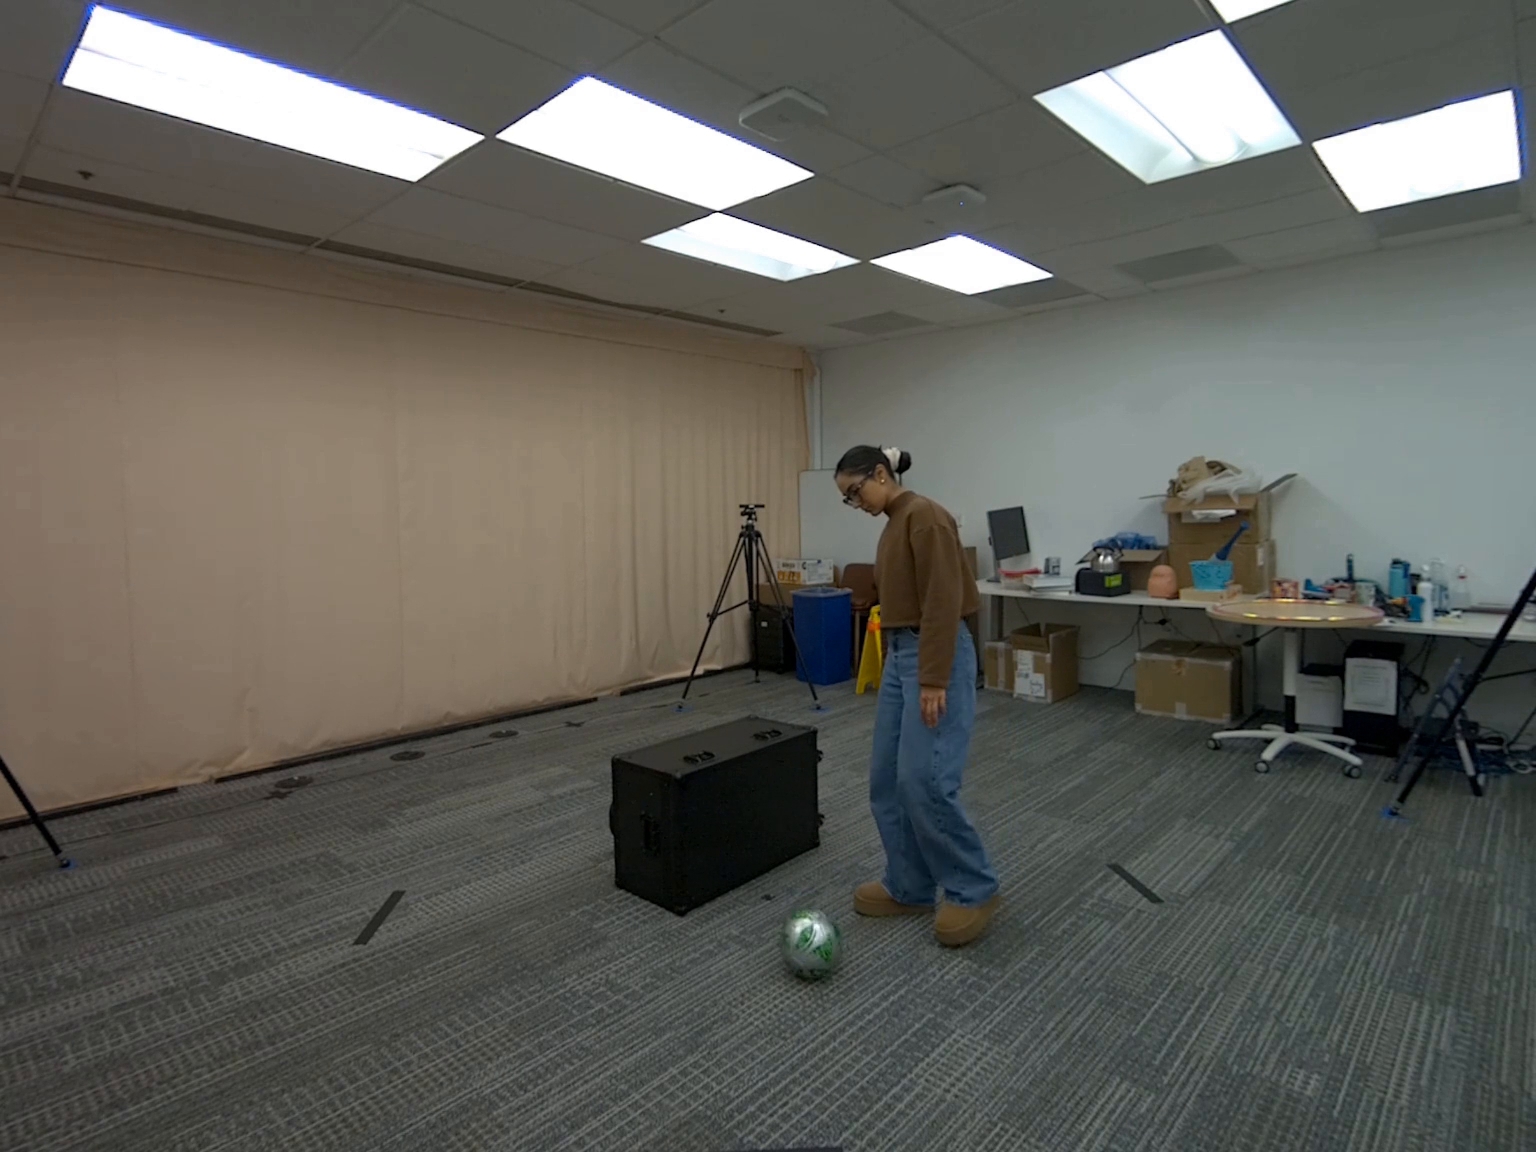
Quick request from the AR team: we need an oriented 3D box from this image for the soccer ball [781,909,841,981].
[{"bbox_3d":[0.123,1.077,2.498,0.187,0.187,0.188,-1,4,-2],"label":"soccer ball"}]
